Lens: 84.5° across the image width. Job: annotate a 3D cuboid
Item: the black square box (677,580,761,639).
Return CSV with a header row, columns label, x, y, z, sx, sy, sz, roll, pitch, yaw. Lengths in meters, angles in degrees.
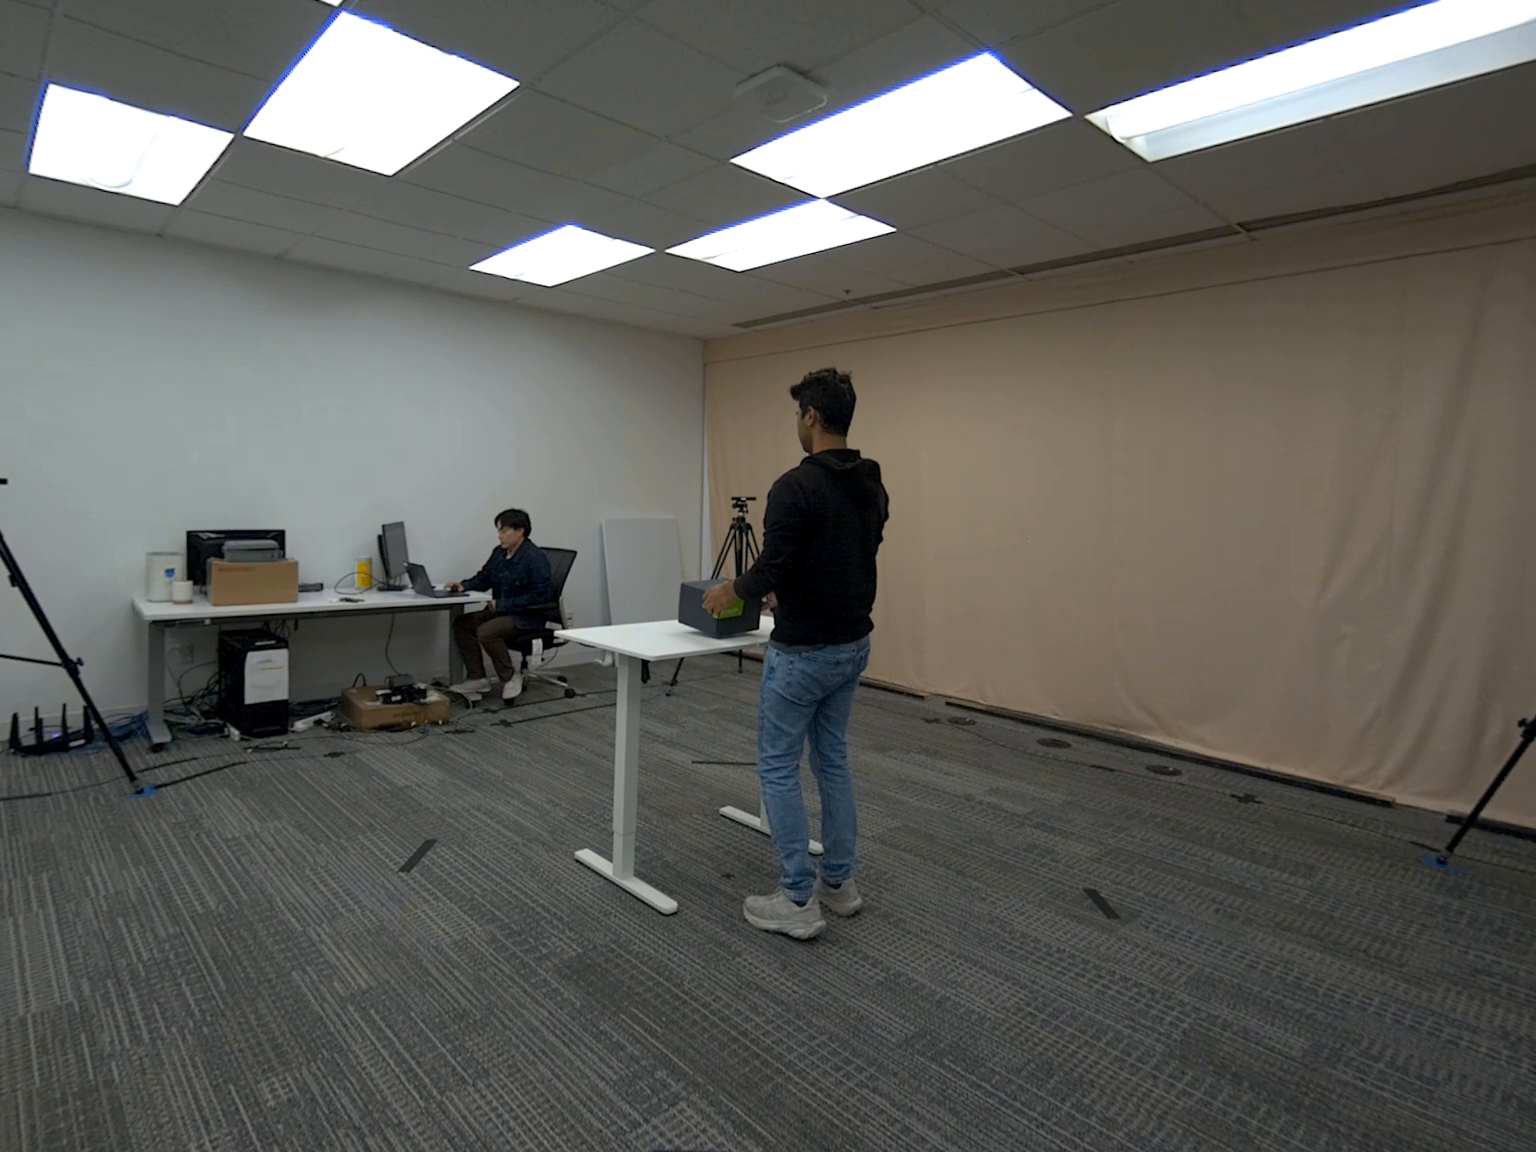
label,x,y,z,sx,sy,sz,roll,pitch,yaw
black square box,-0.187,0.114,3.154,0.223,0.155,0.223,15,14,41
